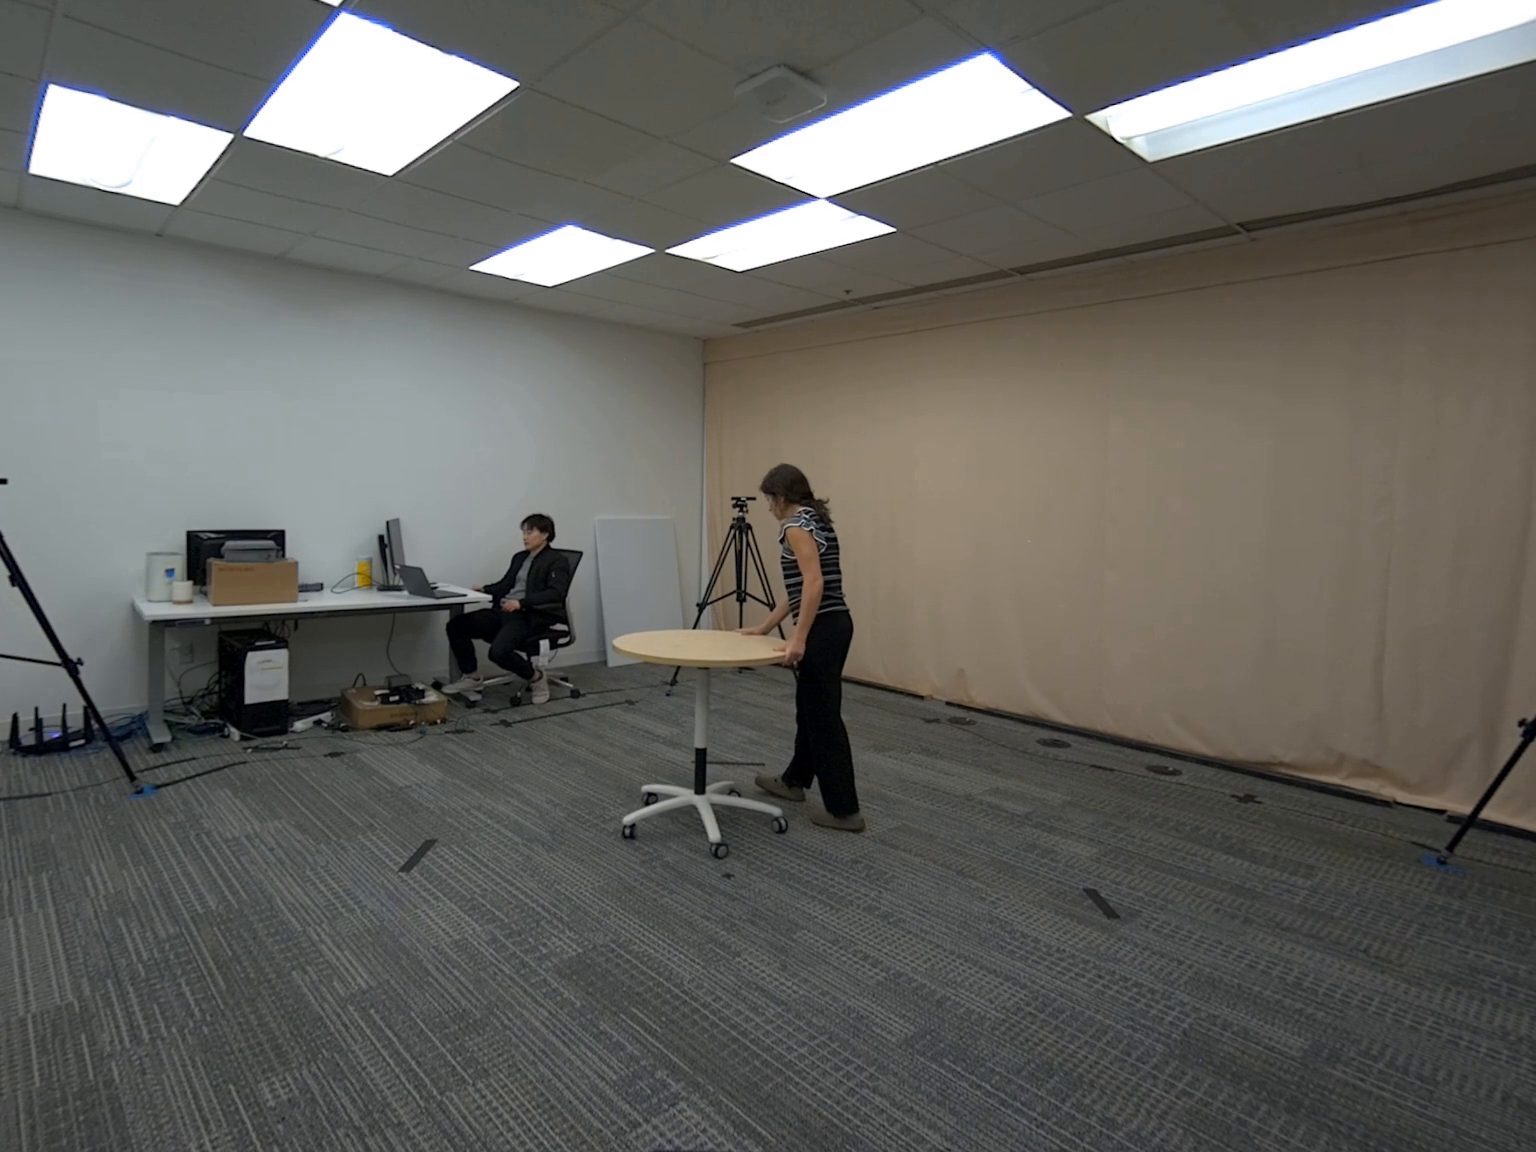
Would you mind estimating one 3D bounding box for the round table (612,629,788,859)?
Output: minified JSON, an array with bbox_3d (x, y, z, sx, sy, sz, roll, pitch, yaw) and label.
[{"bbox_3d":[-0.291,0.677,3.555,0.763,0.792,0.766,2,3,-1],"label":"round table"}]
